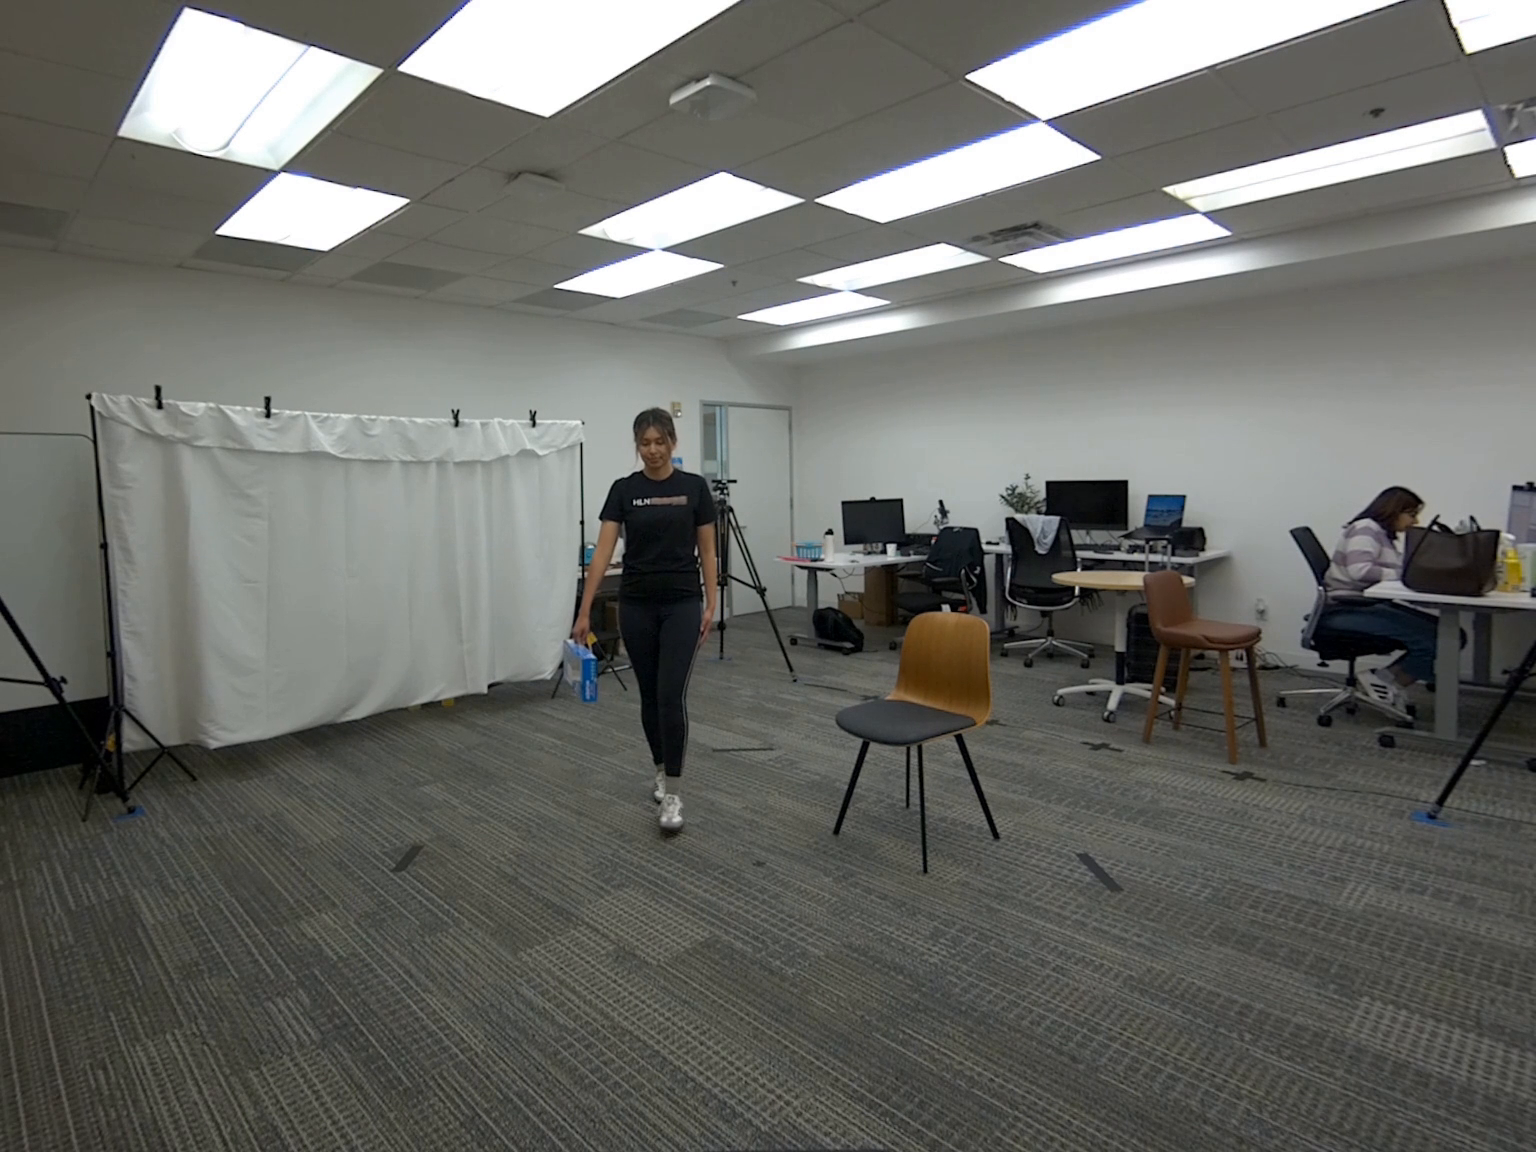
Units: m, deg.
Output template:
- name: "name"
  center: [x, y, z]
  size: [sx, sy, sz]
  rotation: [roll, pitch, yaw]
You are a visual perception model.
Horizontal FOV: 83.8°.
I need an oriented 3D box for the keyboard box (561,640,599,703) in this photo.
- name: "keyboard box"
  center: [-0.778, 0.384, 3.539]
  size: [0.058, 0.175, 0.447]
  rotation: [-1, 7, -20]
